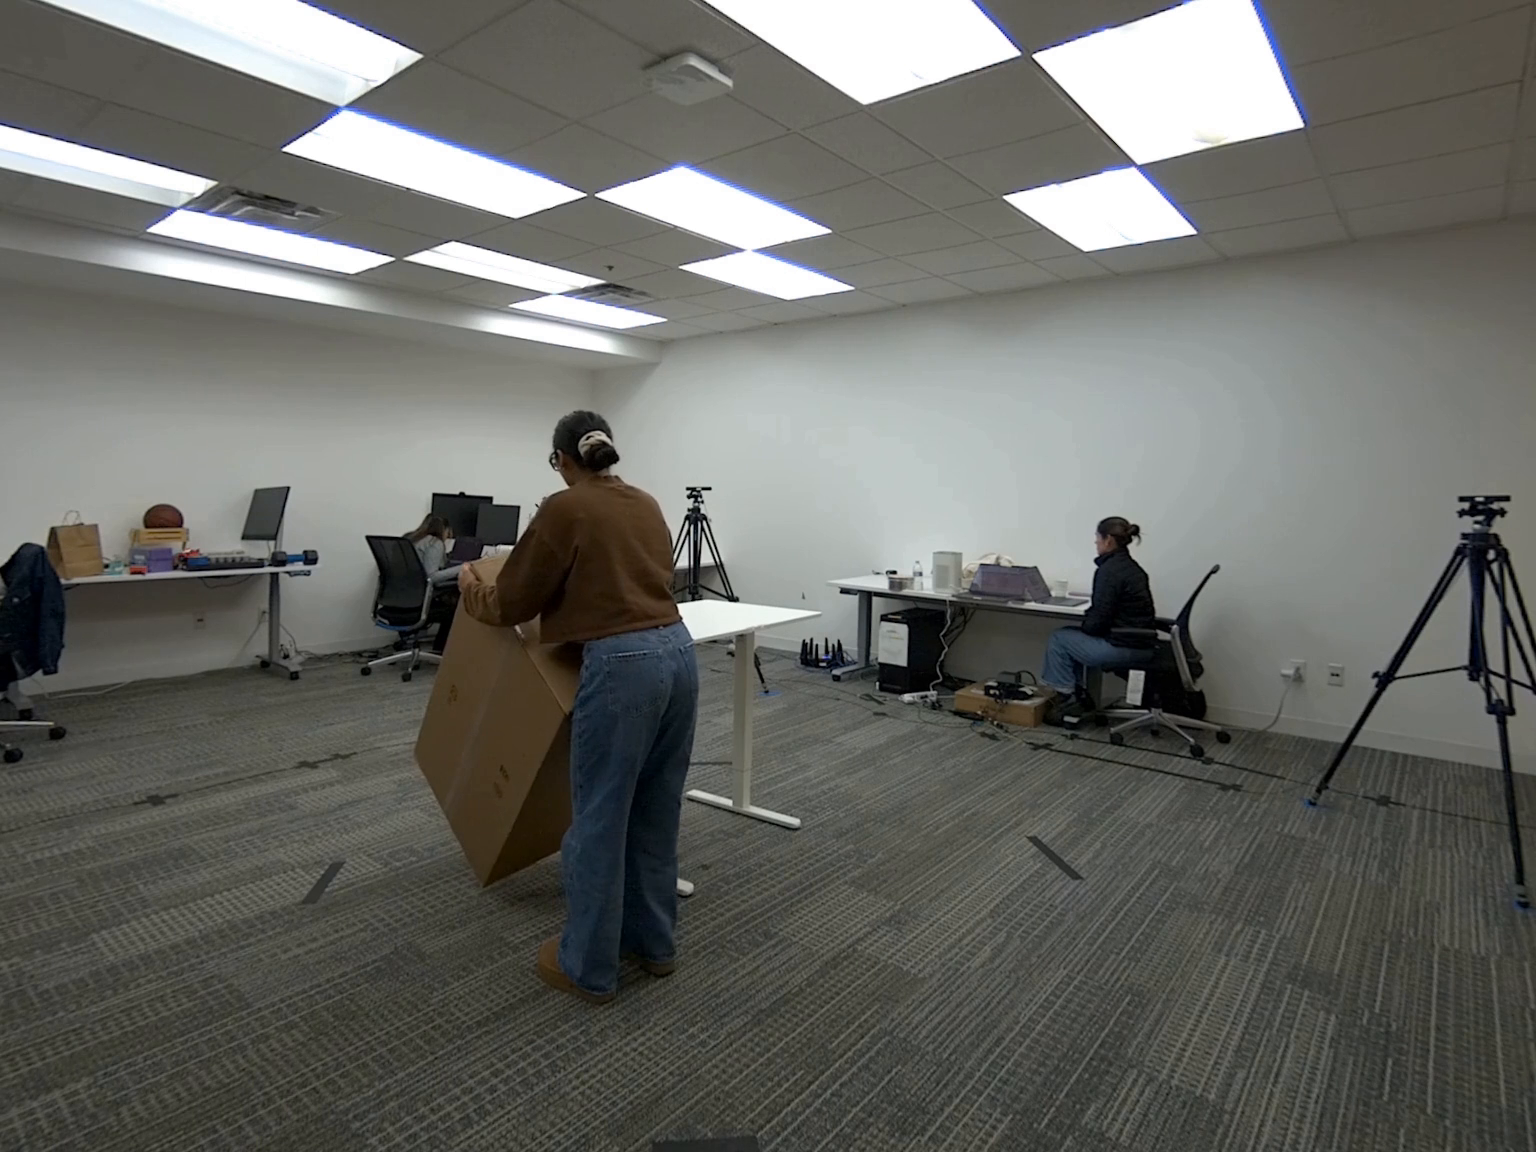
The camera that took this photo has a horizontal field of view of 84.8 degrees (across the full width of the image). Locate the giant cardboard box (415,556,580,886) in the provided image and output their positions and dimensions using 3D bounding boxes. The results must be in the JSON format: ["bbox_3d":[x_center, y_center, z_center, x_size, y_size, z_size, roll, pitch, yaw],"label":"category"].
[{"bbox_3d":[-0.793,0.466,2.822,0.416,1.017,0.597,-14,55,-44],"label":"giant cardboard box"}]
